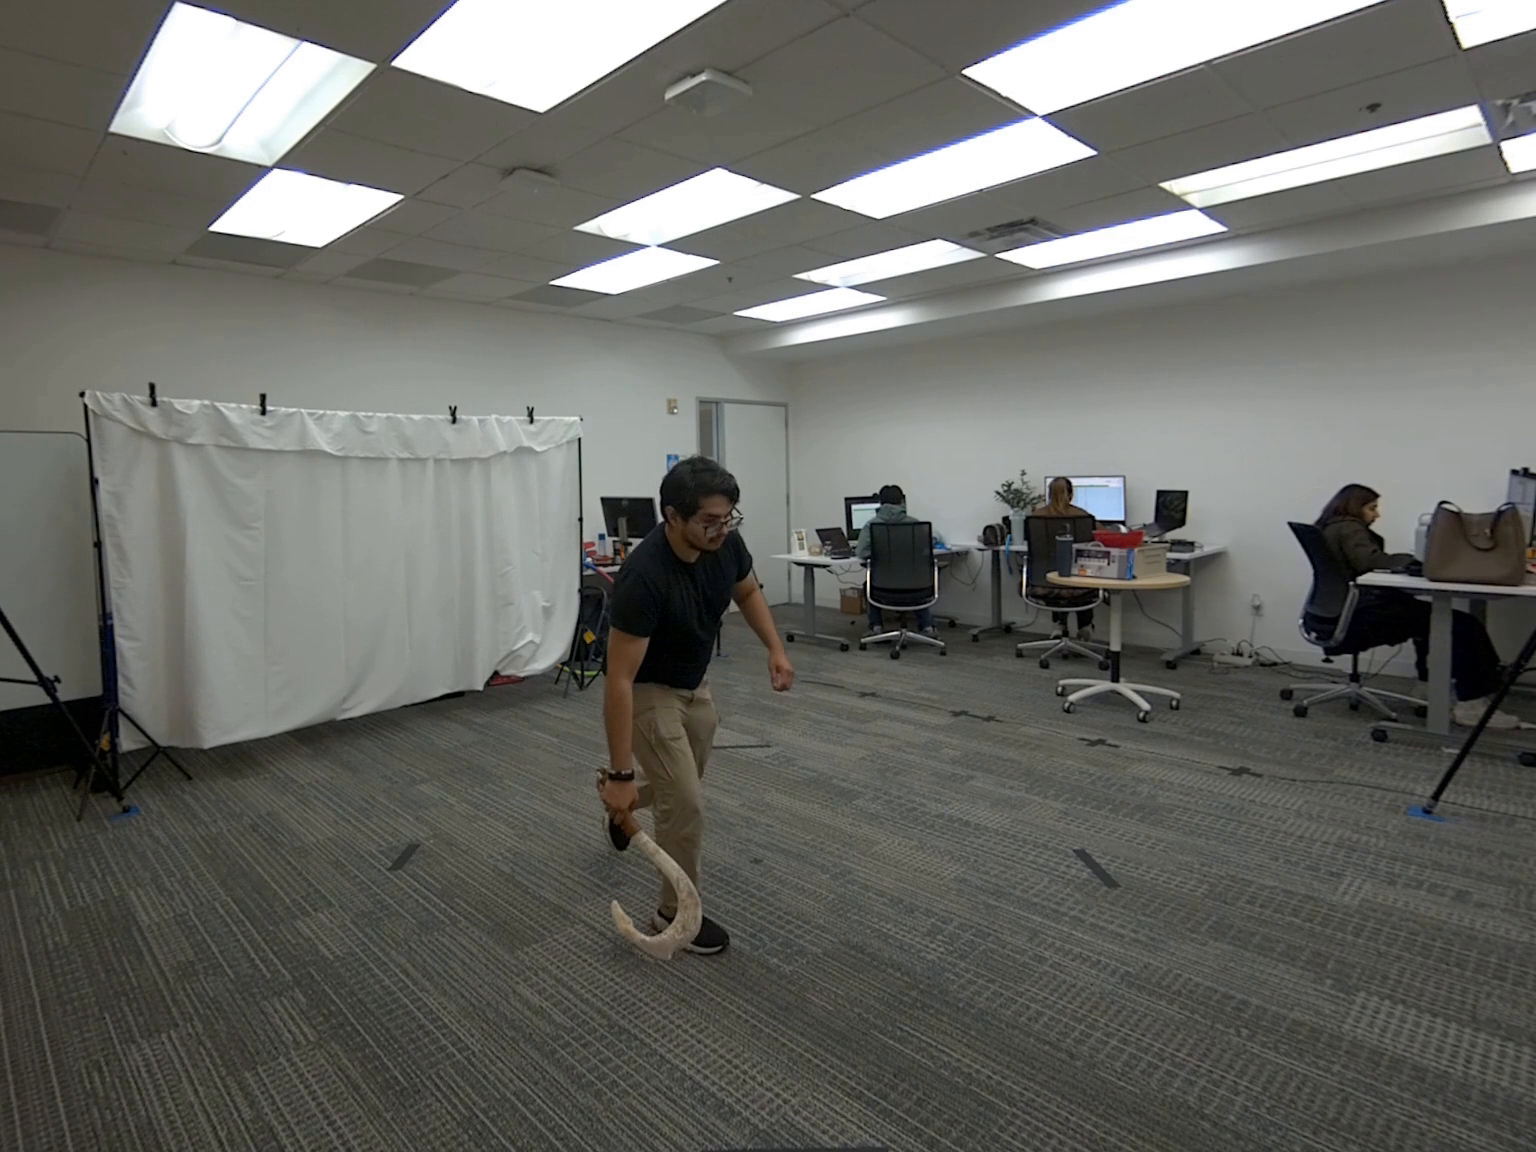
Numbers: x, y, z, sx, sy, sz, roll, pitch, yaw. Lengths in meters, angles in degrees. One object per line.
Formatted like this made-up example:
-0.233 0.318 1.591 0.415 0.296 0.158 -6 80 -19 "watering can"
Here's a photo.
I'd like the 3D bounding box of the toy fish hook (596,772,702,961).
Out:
-0.361 0.758 2.268 0.221 0.515 0.048 -25 -16 -35 "toy fish hook"
